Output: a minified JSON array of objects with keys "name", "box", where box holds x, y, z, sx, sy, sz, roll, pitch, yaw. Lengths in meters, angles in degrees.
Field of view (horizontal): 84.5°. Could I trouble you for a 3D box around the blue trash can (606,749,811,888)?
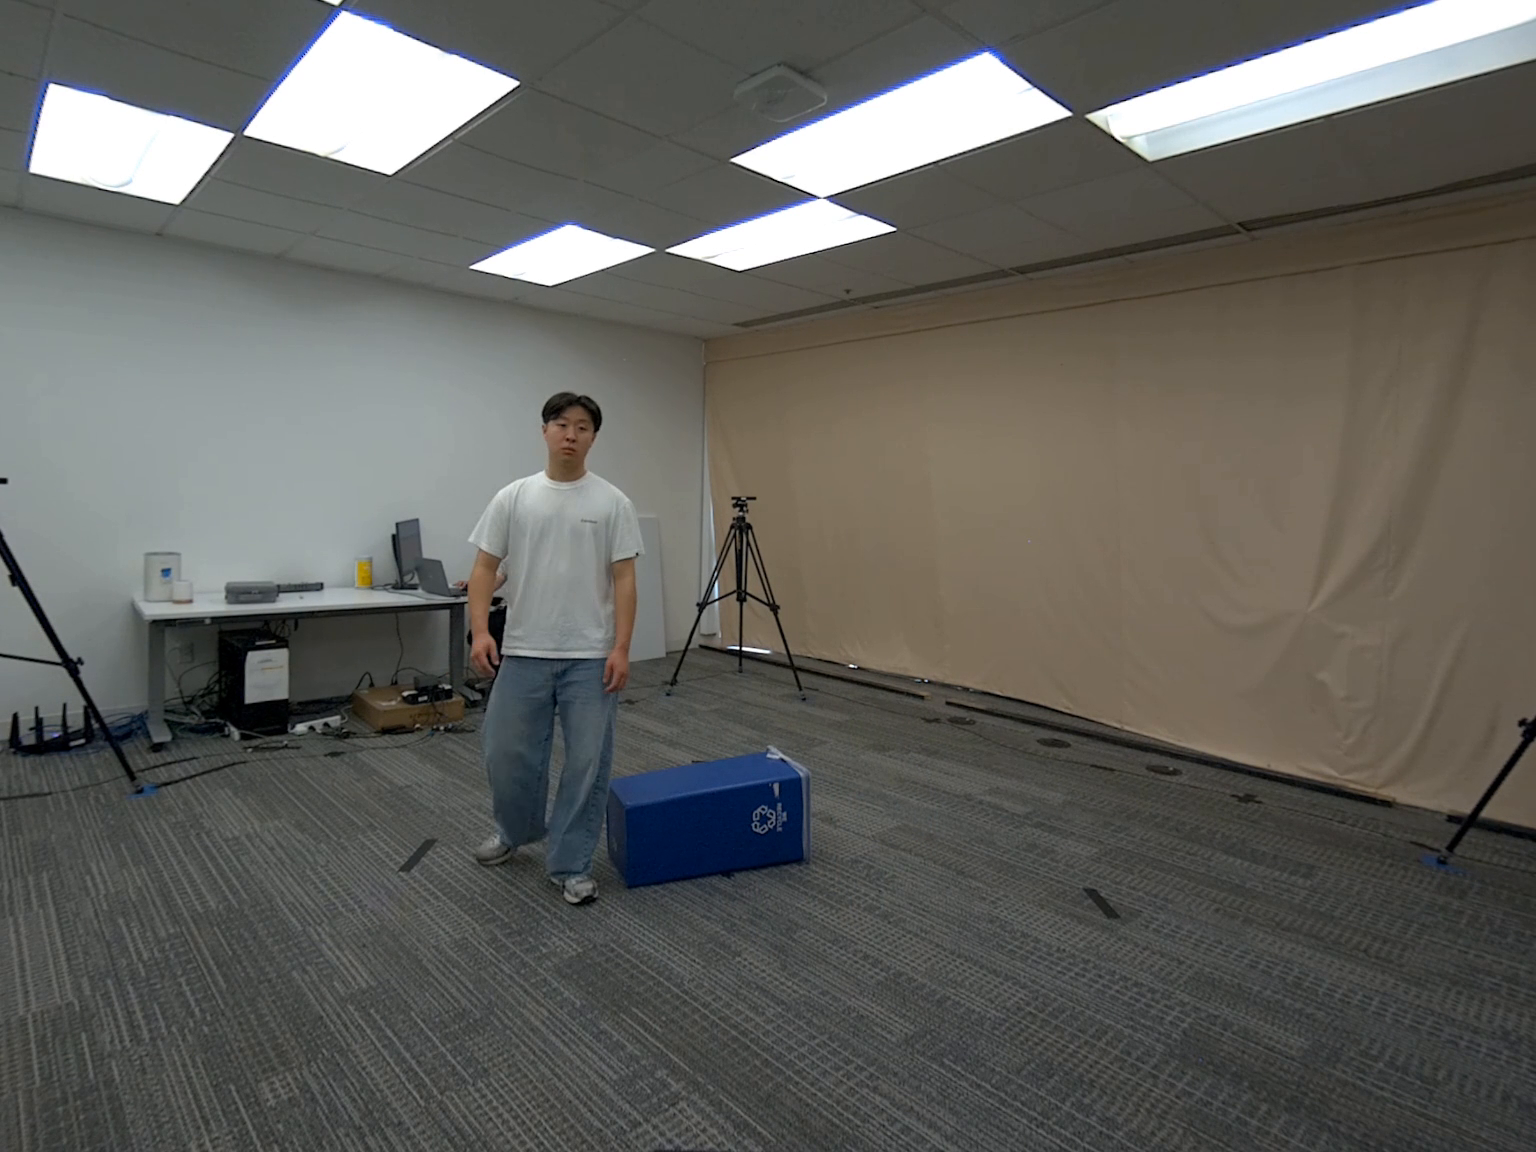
[{"name":"blue trash can","box":[-0.239,0.927,3.230,0.702,0.377,0.381,-4,5,-23]}]
